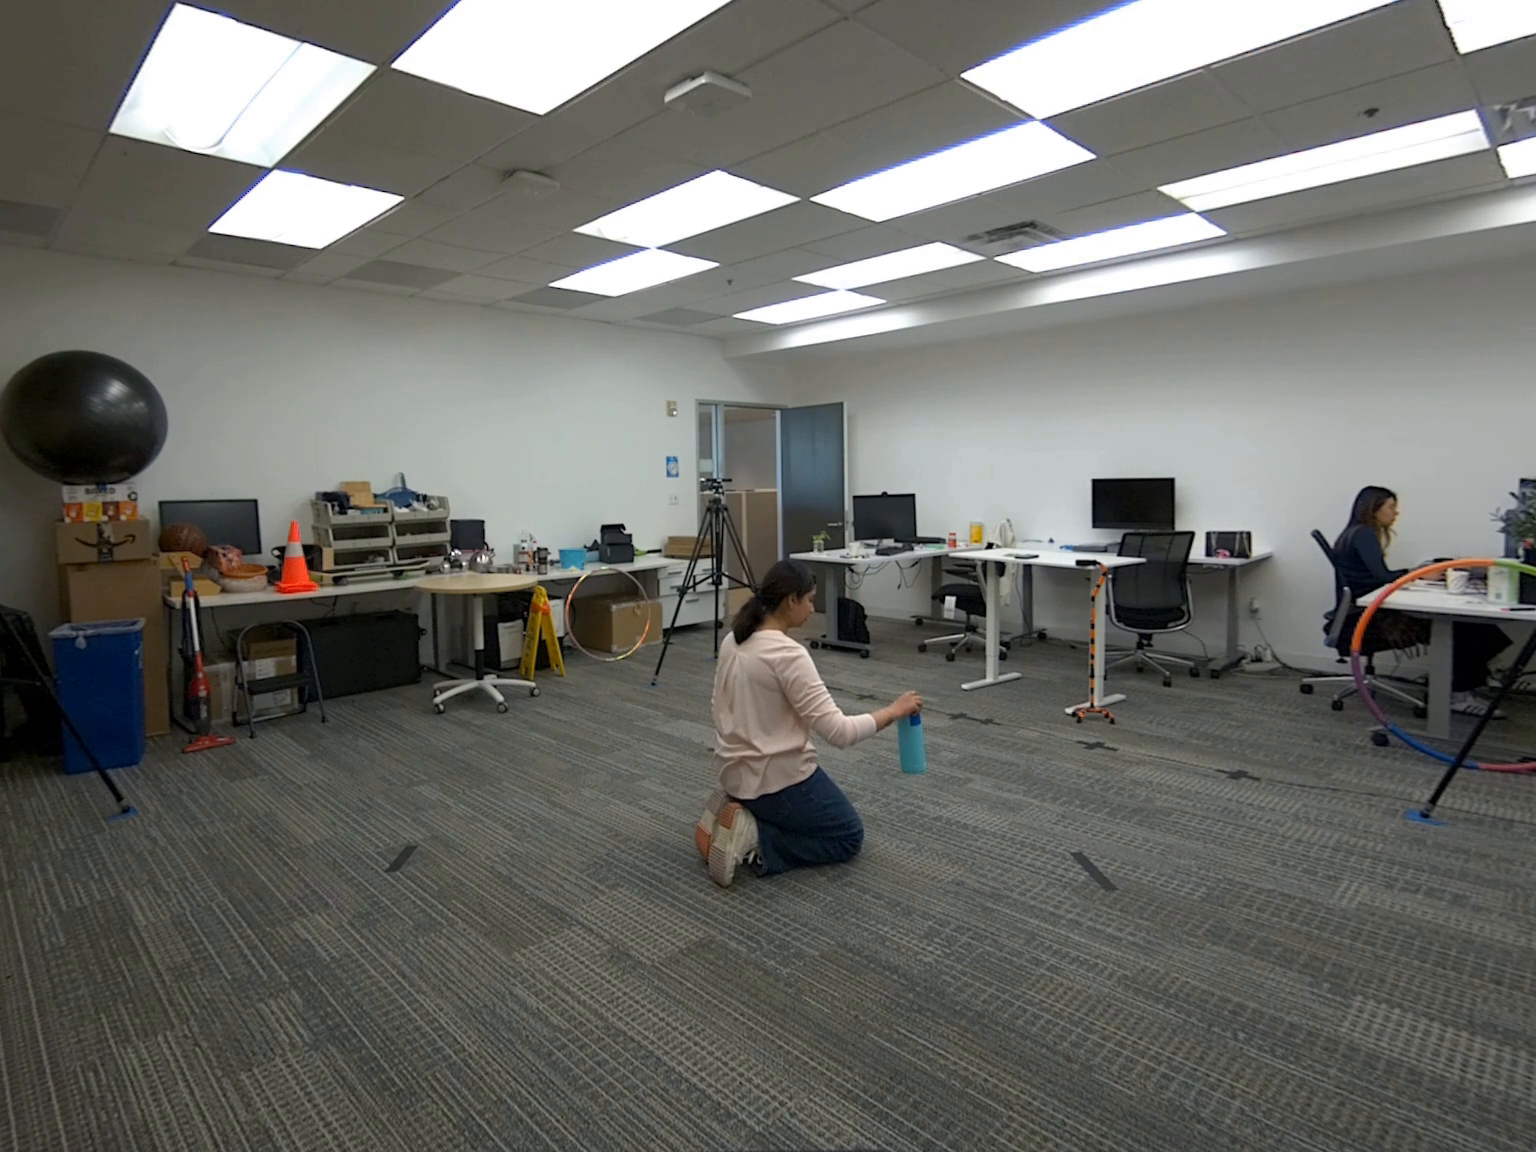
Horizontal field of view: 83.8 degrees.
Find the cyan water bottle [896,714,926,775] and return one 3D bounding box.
[{"bbox_3d":[0.514,0.564,3.085,0.092,0.282,0.092,-4,3,-1],"label":"cyan water bottle"}]
